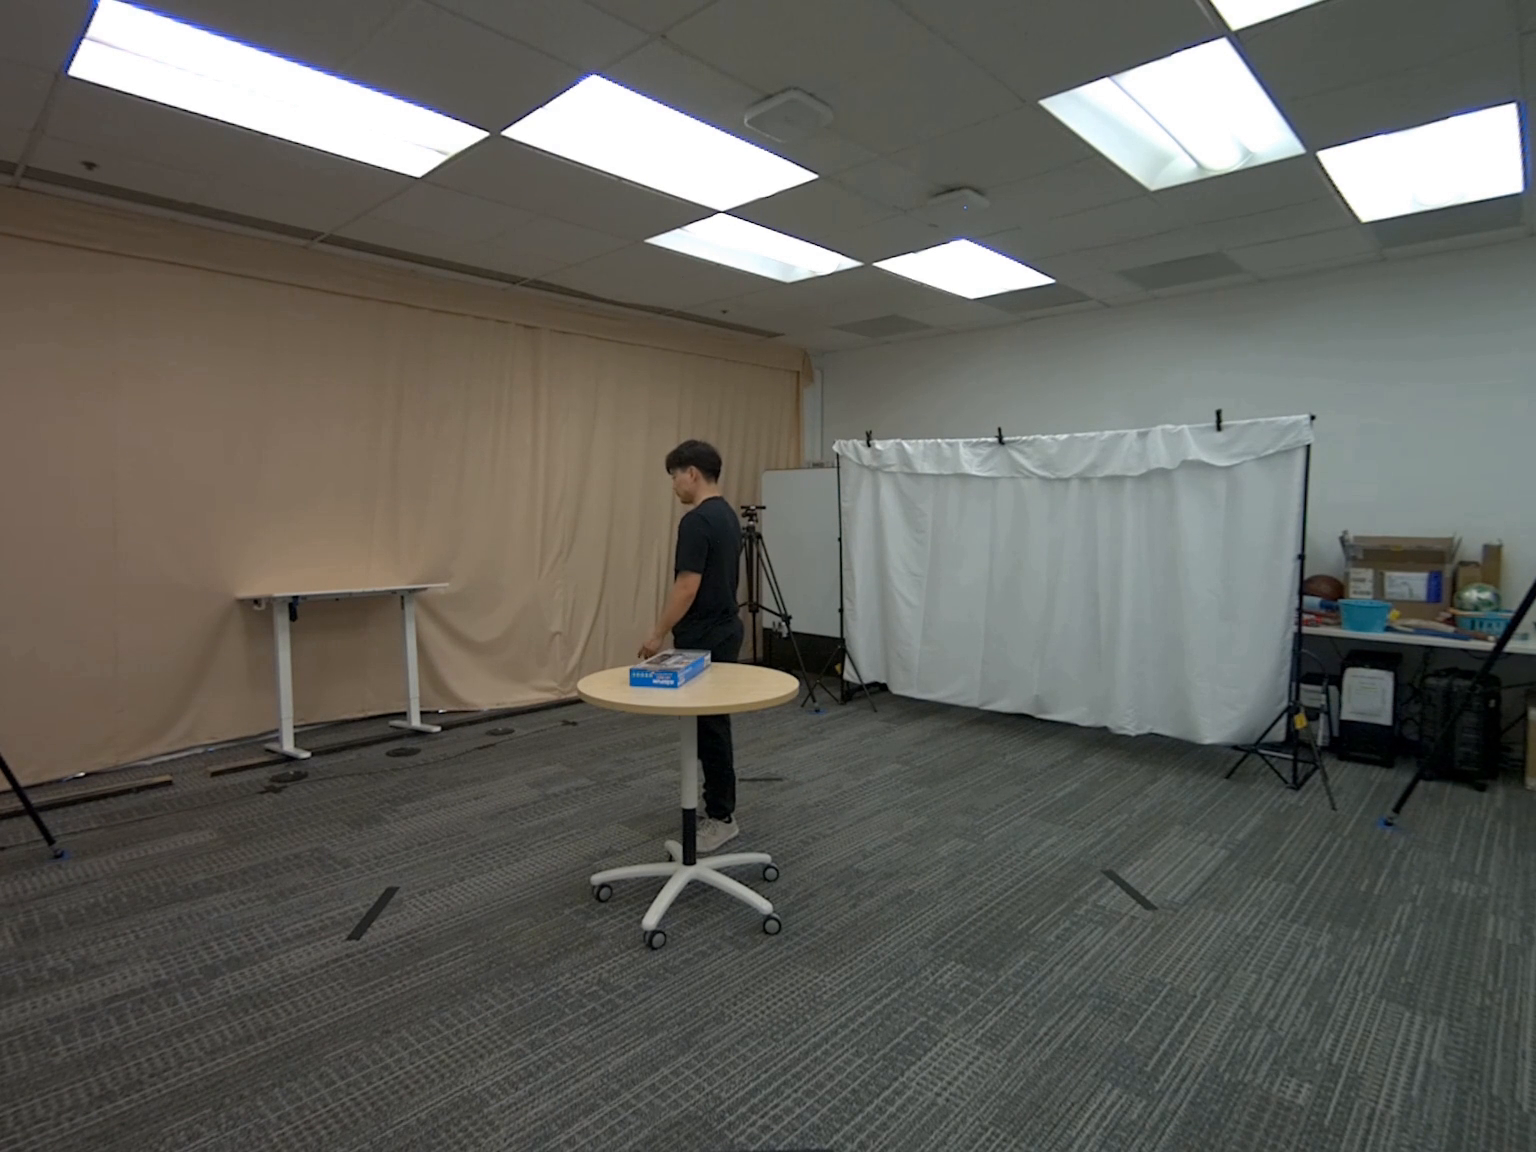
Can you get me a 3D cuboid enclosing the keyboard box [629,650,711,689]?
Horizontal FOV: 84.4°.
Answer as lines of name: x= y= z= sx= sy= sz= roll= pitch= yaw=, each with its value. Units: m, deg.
keyboard box: x=-0.341 y=0.327 z=3.038 sx=0.178 sy=0.059 sz=0.431 roll=0 pitch=4 yaw=12
